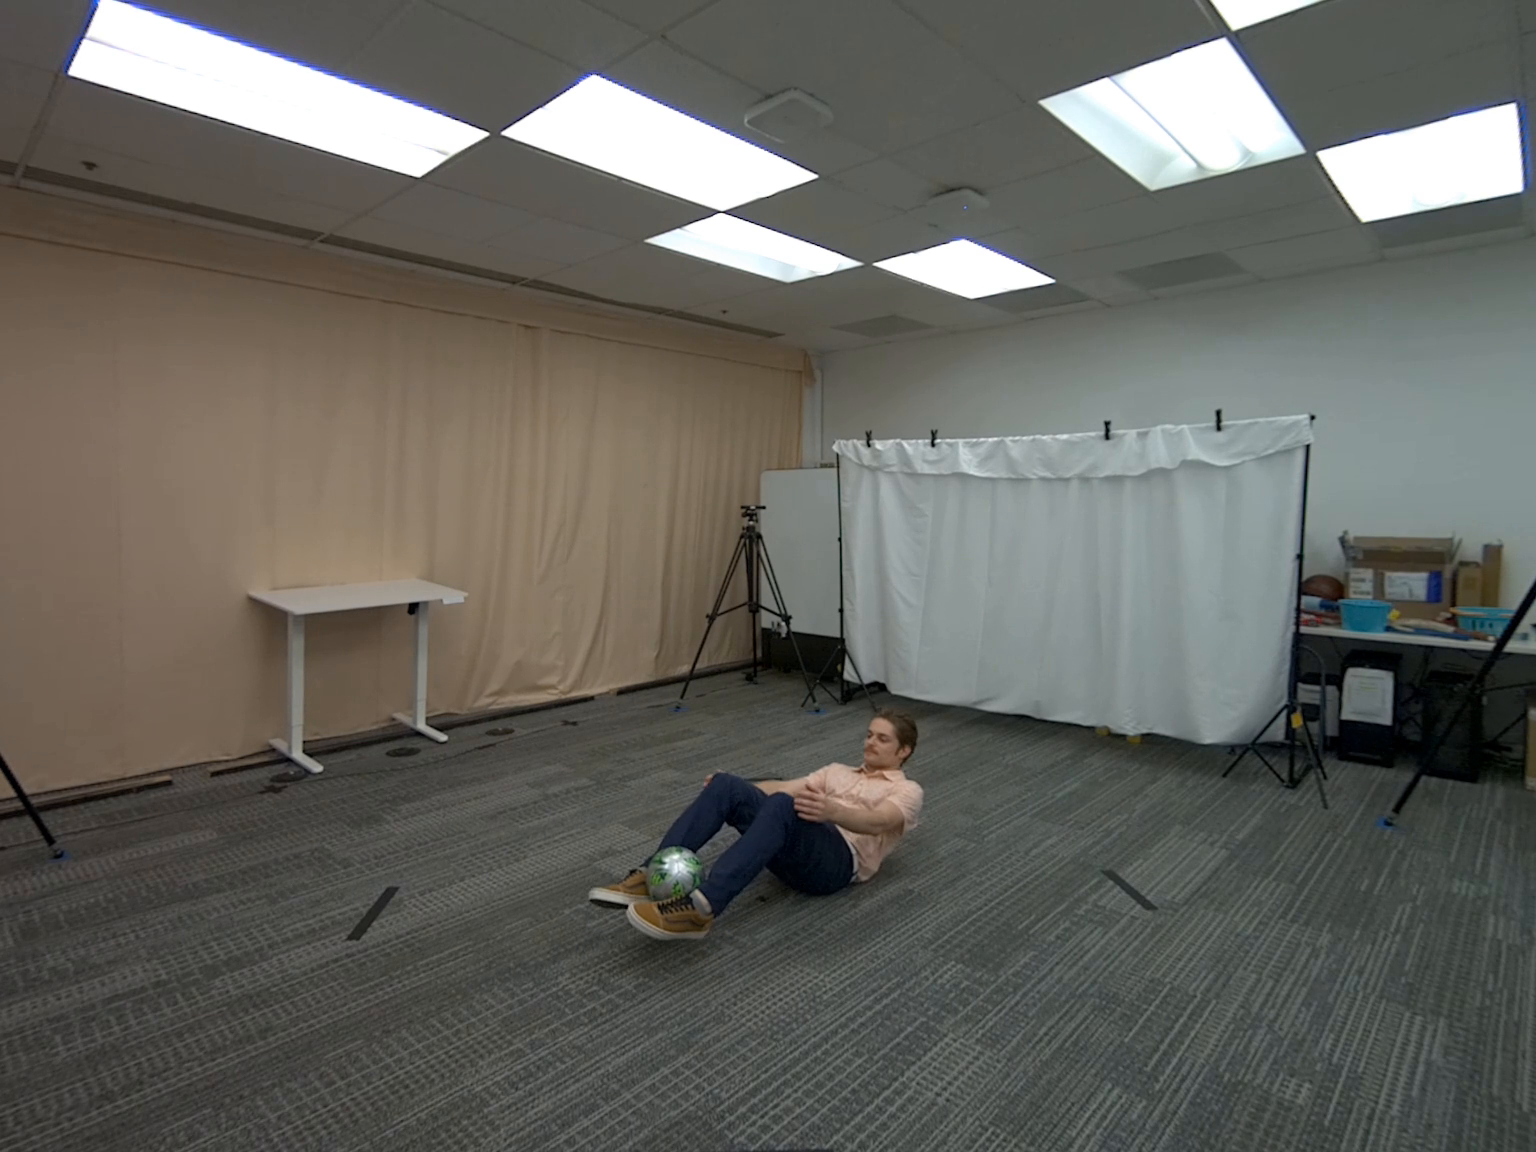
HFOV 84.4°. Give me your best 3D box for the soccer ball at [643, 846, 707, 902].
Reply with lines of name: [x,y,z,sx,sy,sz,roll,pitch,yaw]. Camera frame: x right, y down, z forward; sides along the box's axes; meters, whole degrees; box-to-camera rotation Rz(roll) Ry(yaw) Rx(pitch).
soccer ball: [-0.290,0.954,2.657,0.187,0.187,0.188,0,4,-2]
